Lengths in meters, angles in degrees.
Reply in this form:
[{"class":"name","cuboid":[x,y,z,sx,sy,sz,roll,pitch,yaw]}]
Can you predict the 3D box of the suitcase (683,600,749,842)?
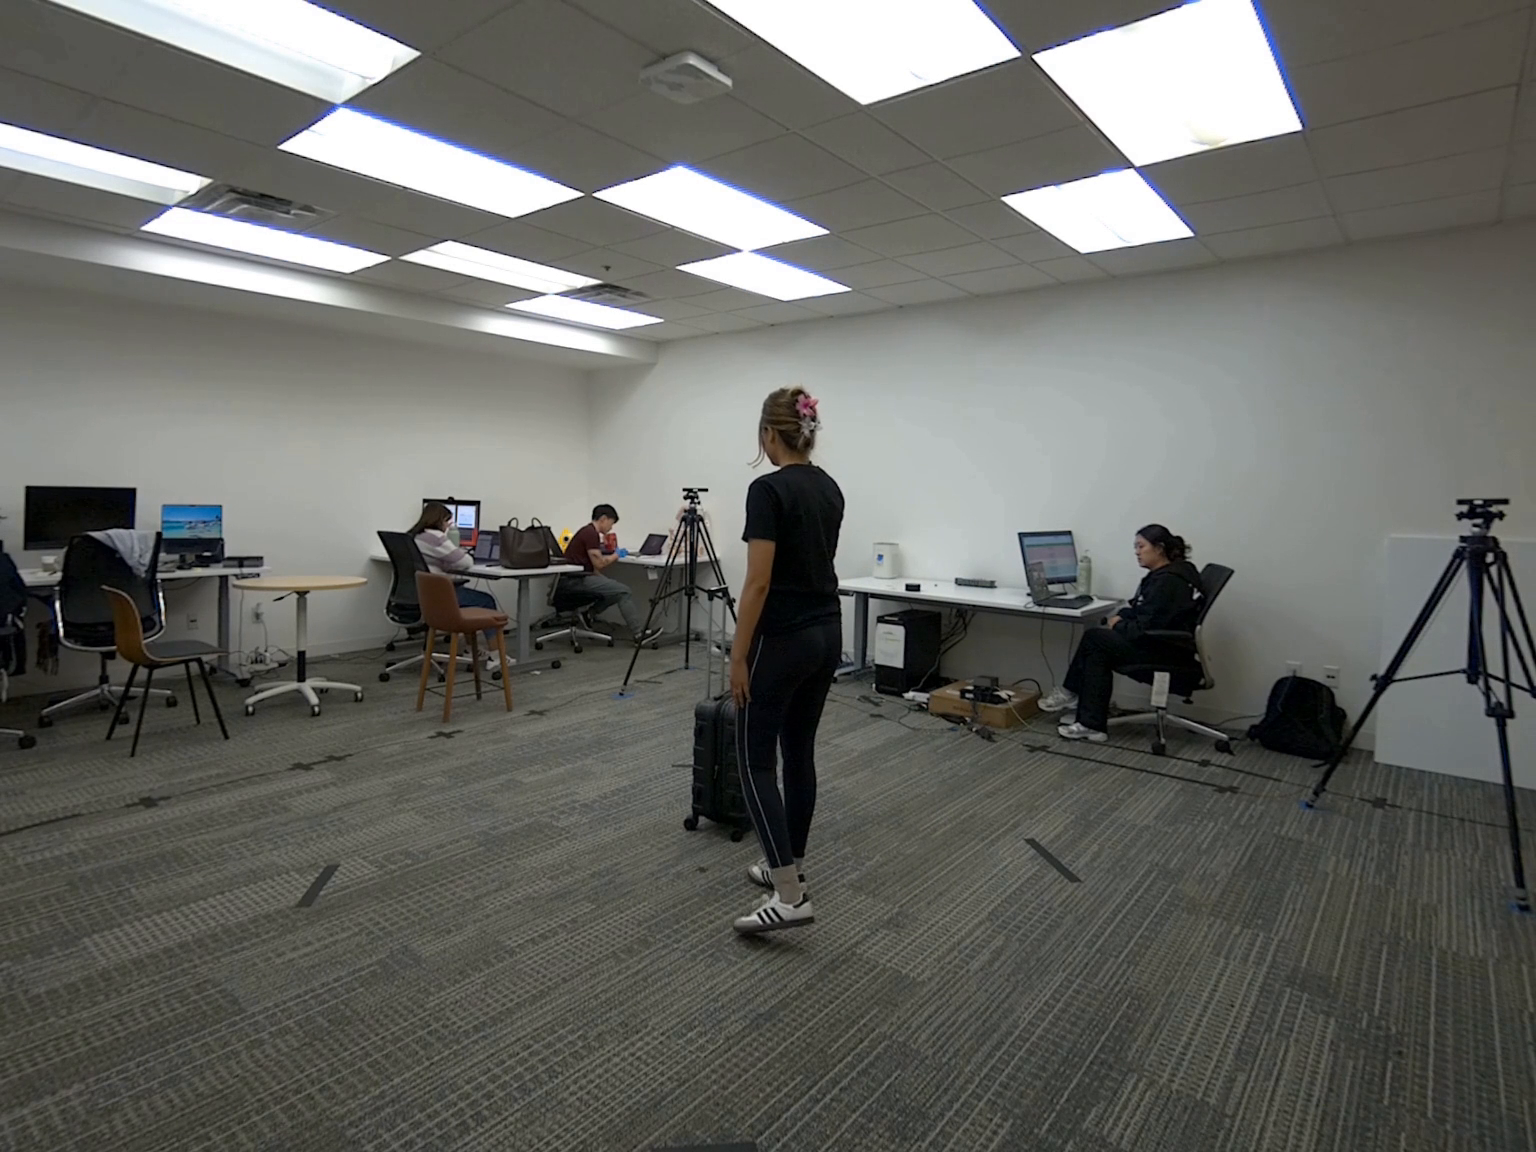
[{"class":"suitcase","cuboid":[-0.139,0.556,3.545,0.263,0.976,0.375,5,3,22]}]
